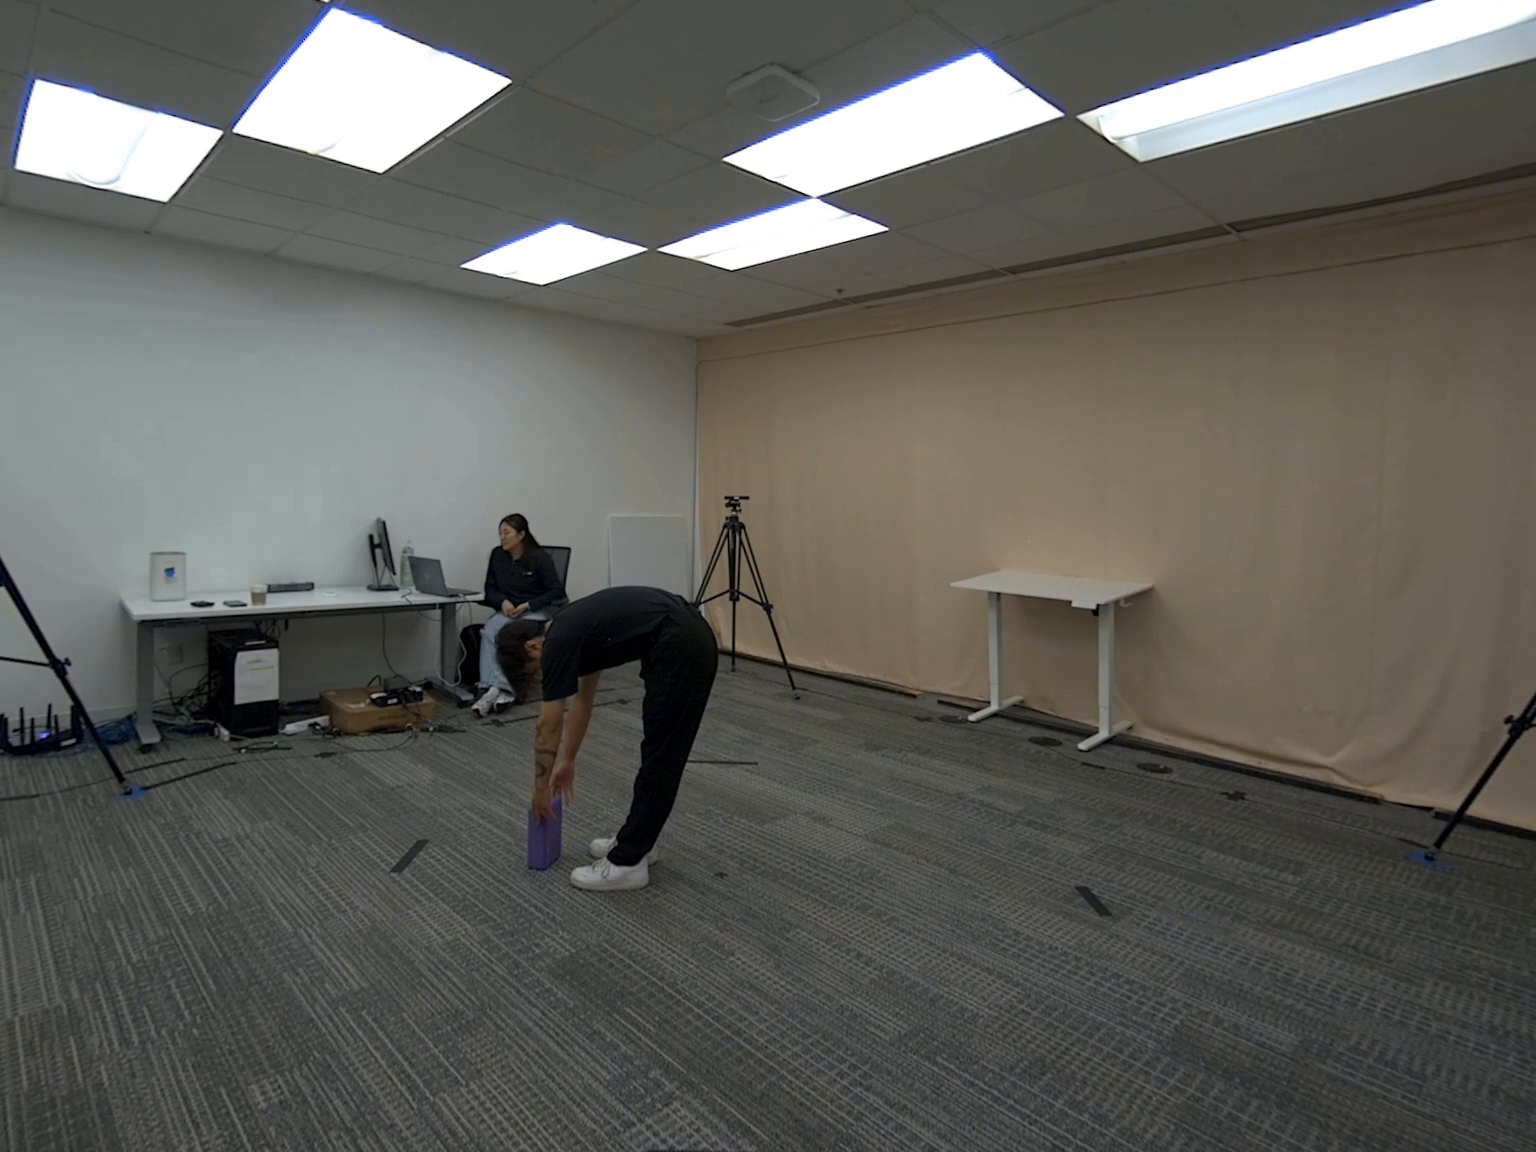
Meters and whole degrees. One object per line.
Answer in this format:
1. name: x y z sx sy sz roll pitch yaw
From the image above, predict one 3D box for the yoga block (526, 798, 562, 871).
1. yoga block: -0.841 0.964 3.173 0.077 0.229 0.148 1 3 11
